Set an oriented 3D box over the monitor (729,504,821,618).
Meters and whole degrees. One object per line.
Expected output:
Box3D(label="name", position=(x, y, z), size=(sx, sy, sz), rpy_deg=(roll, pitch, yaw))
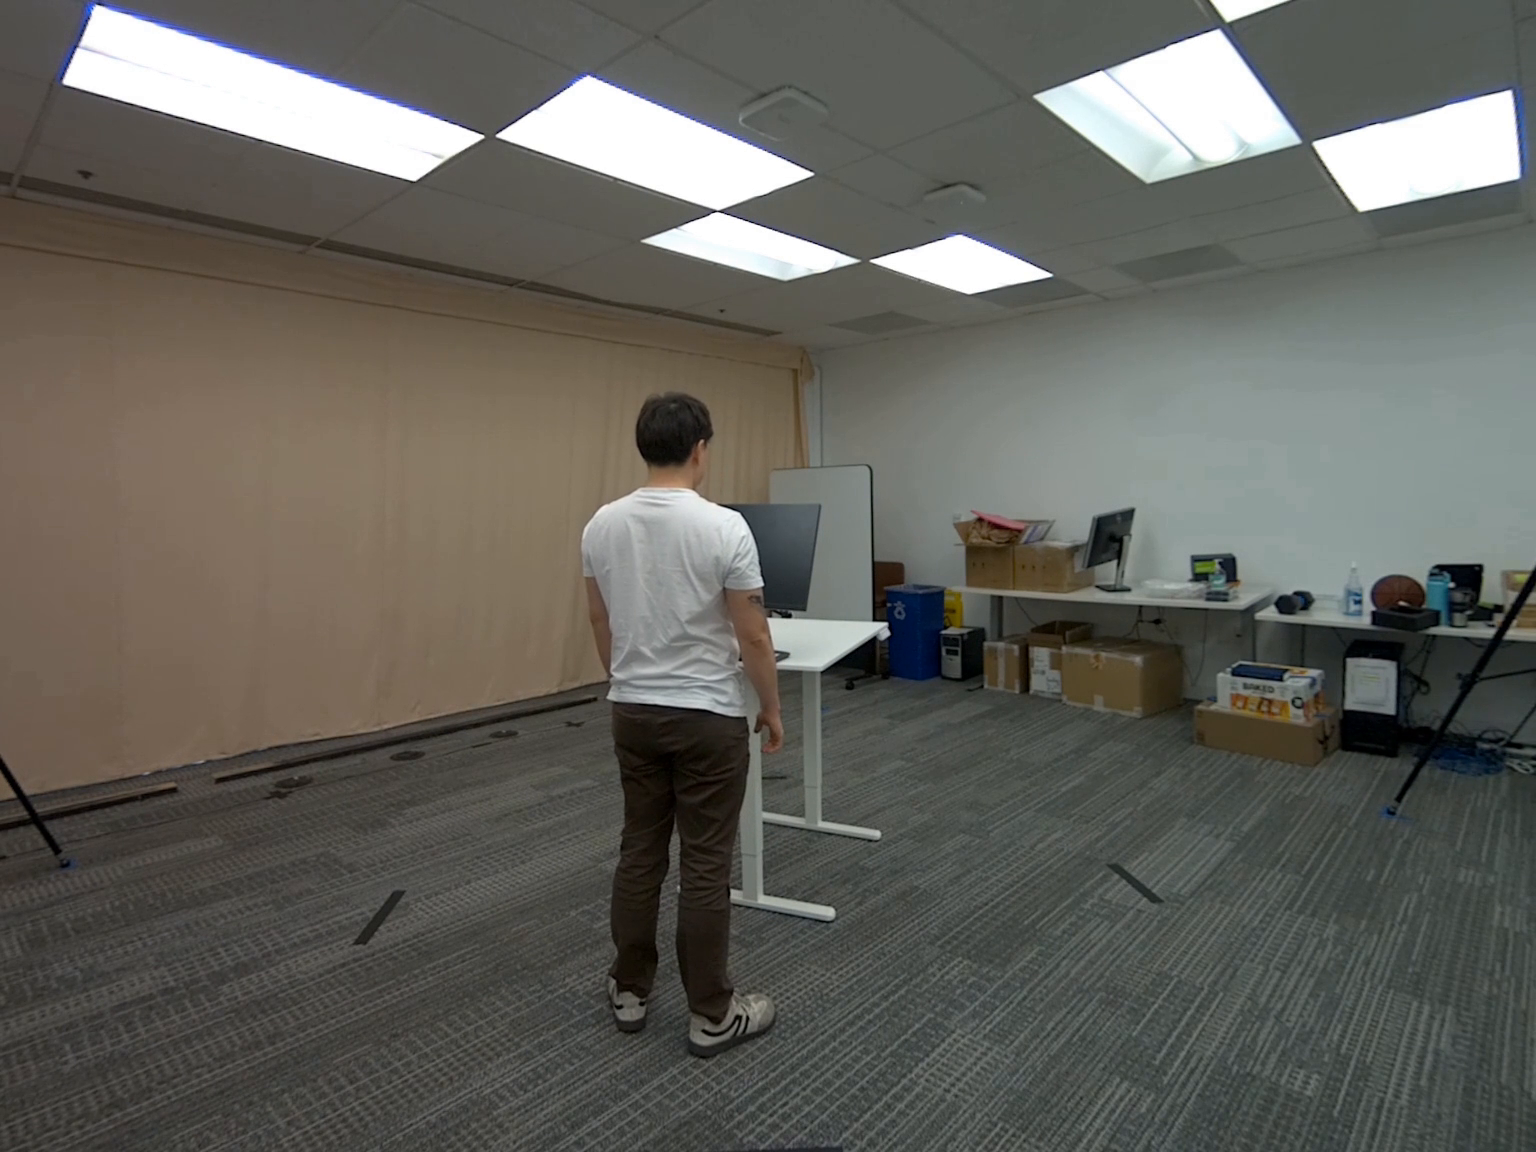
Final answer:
Box3D(label="monitor", position=(-0.067, 0.018, 2.834), size=(0.554, 0.522, 0.182), rpy_deg=(3, 1, 29))
